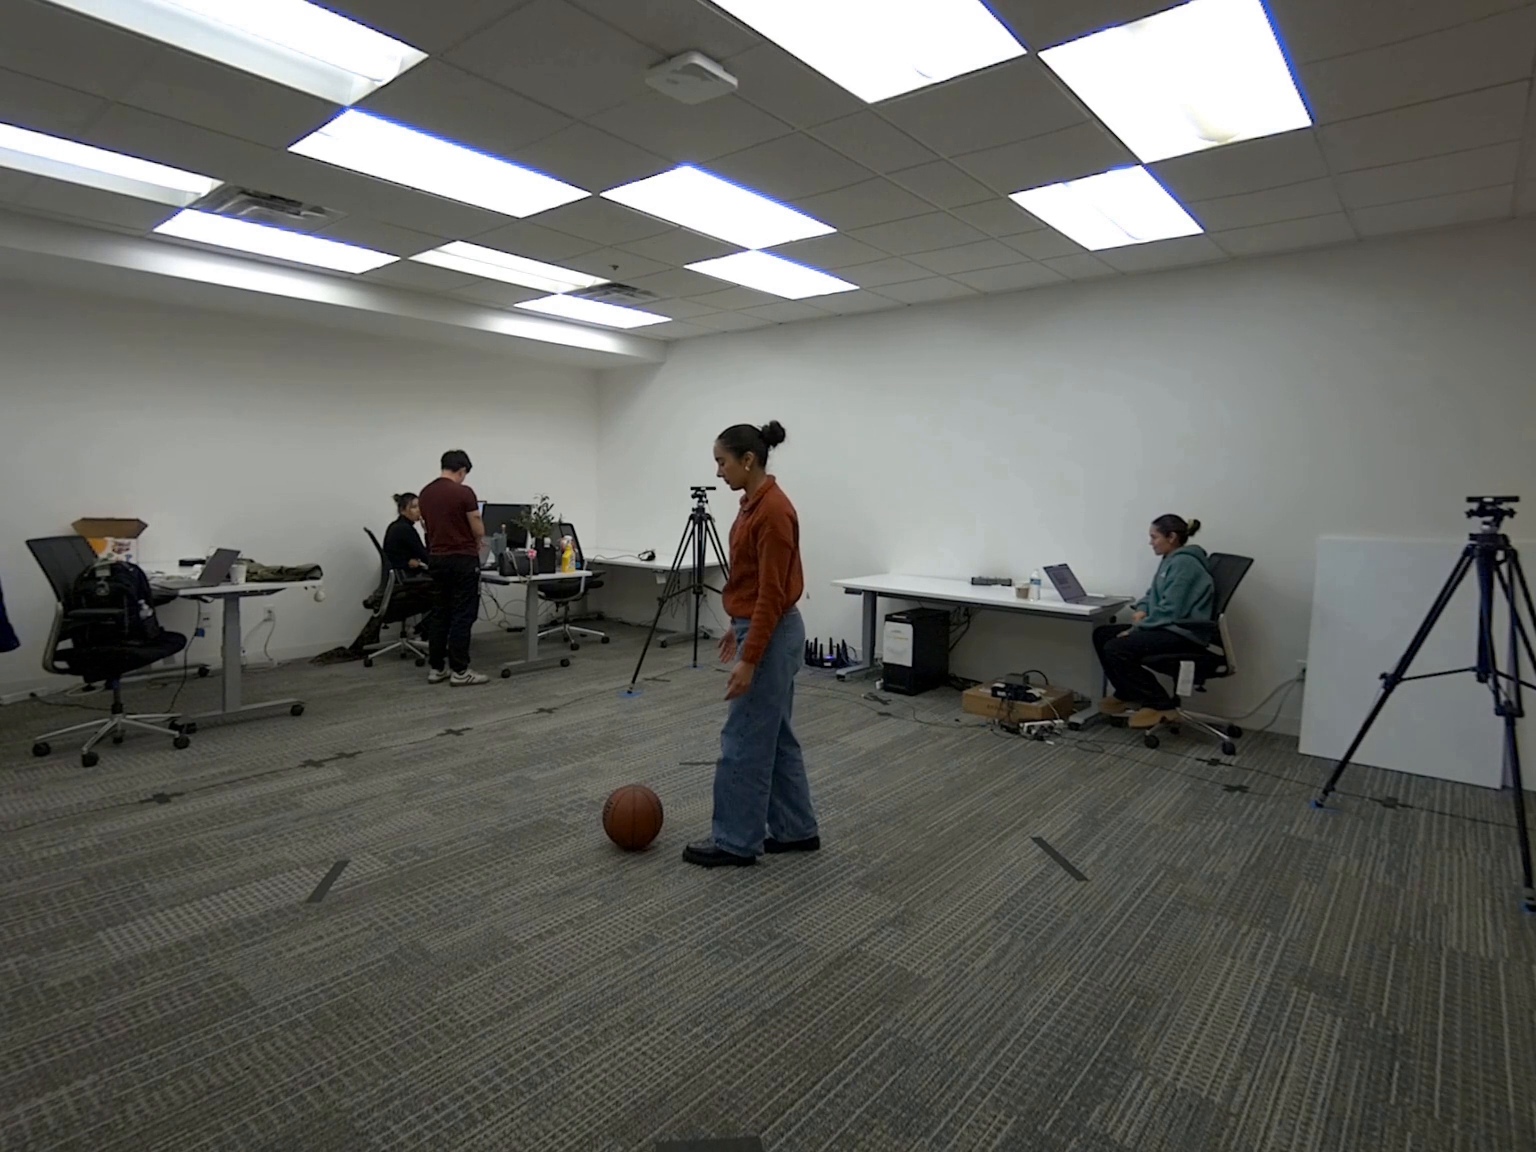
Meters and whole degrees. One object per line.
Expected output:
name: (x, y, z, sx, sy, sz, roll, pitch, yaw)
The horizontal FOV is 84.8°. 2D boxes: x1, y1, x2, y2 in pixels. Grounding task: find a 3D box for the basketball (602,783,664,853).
basketball: (-0.532, 0.922, 3.293, 0.236, 0.235, 0.237, 1, 4, -2)
